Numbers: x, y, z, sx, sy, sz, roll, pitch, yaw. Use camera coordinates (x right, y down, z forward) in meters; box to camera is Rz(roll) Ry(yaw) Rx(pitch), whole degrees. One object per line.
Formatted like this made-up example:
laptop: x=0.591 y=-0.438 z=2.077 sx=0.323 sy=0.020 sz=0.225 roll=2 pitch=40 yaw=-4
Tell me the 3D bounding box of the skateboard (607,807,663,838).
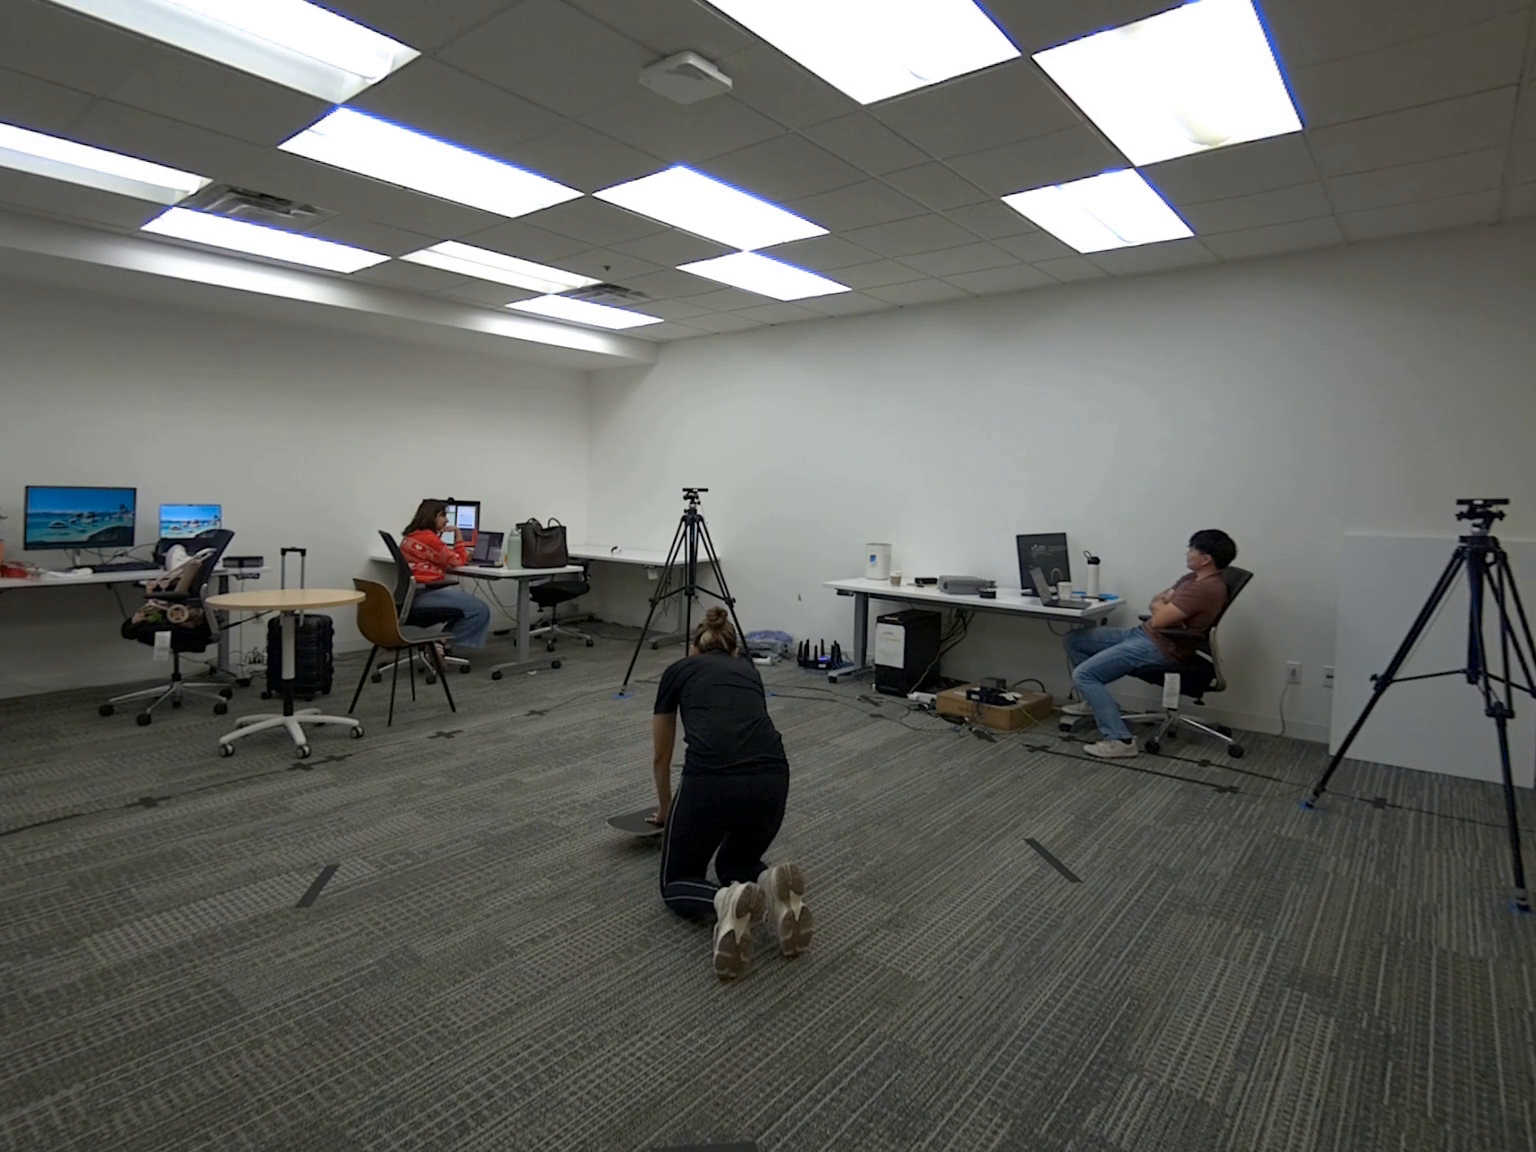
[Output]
skateboard: x=-0.312 y=0.973 z=3.468 sx=0.762 sy=0.110 sz=0.200 roll=-4 pitch=7 yaw=-40
